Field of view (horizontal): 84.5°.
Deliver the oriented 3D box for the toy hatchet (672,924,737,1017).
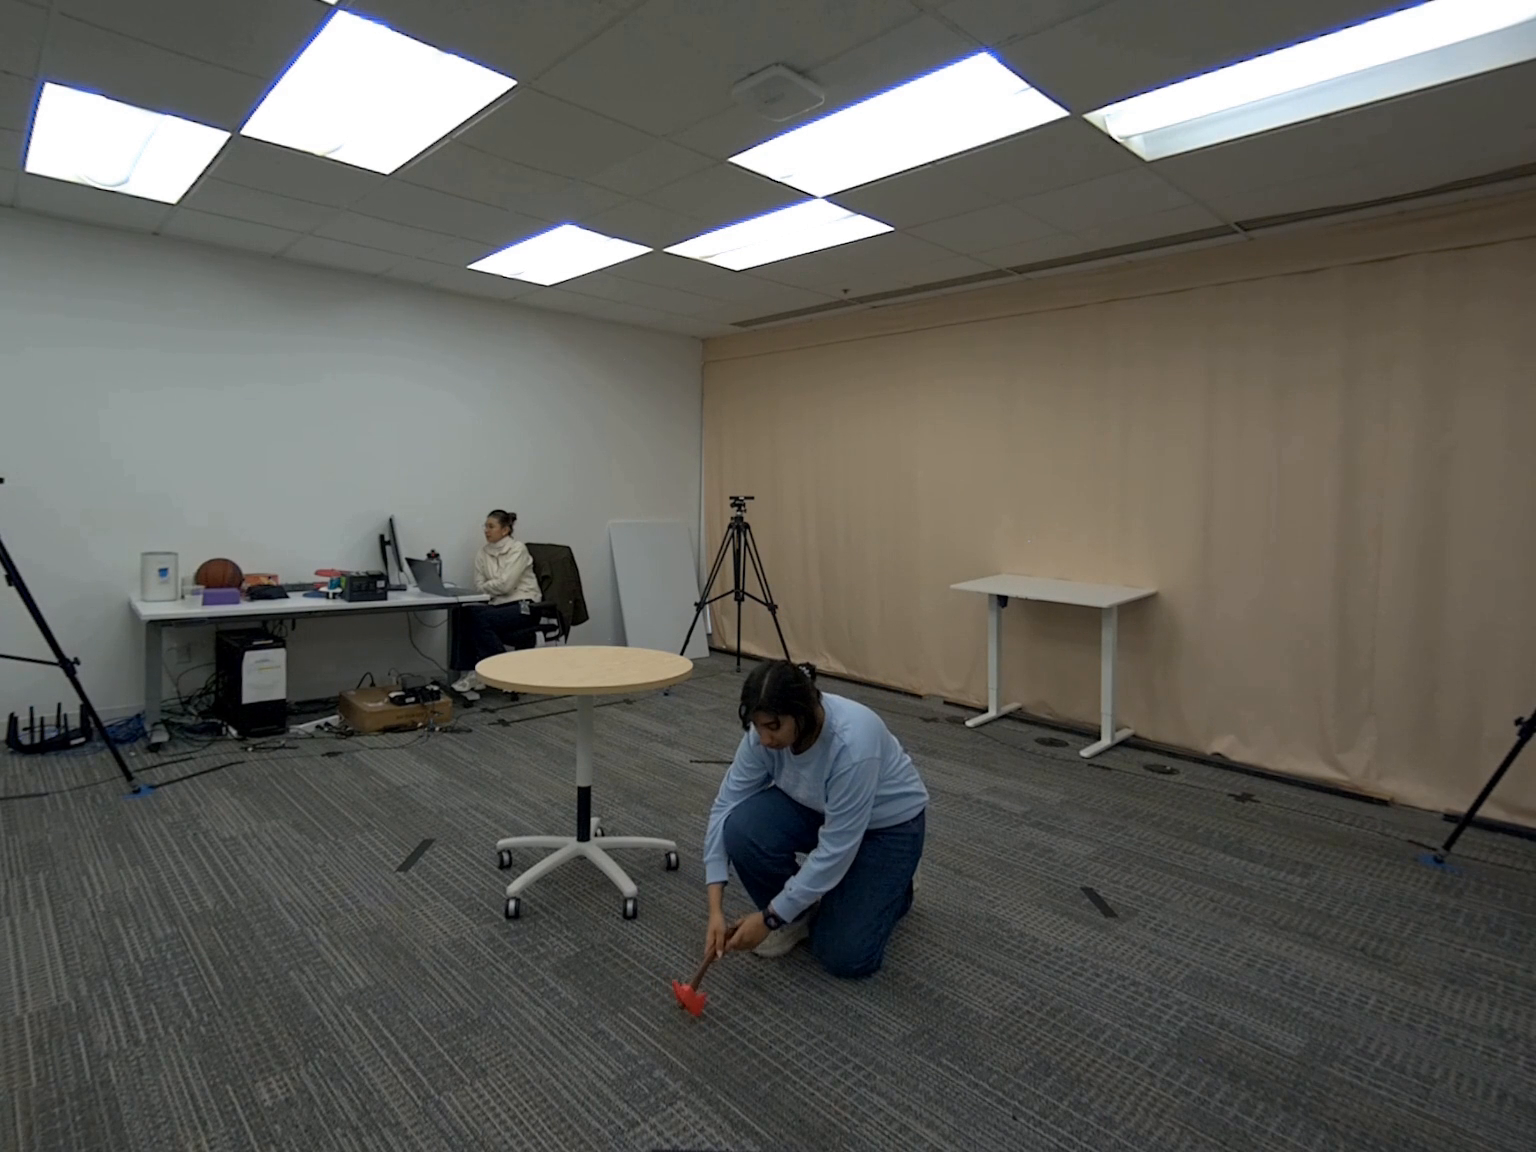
[{"bbox_3d":[-0.159,1.092,2.295,0.030,0.131,0.265,-16,1,44],"label":"toy hatchet"}]
